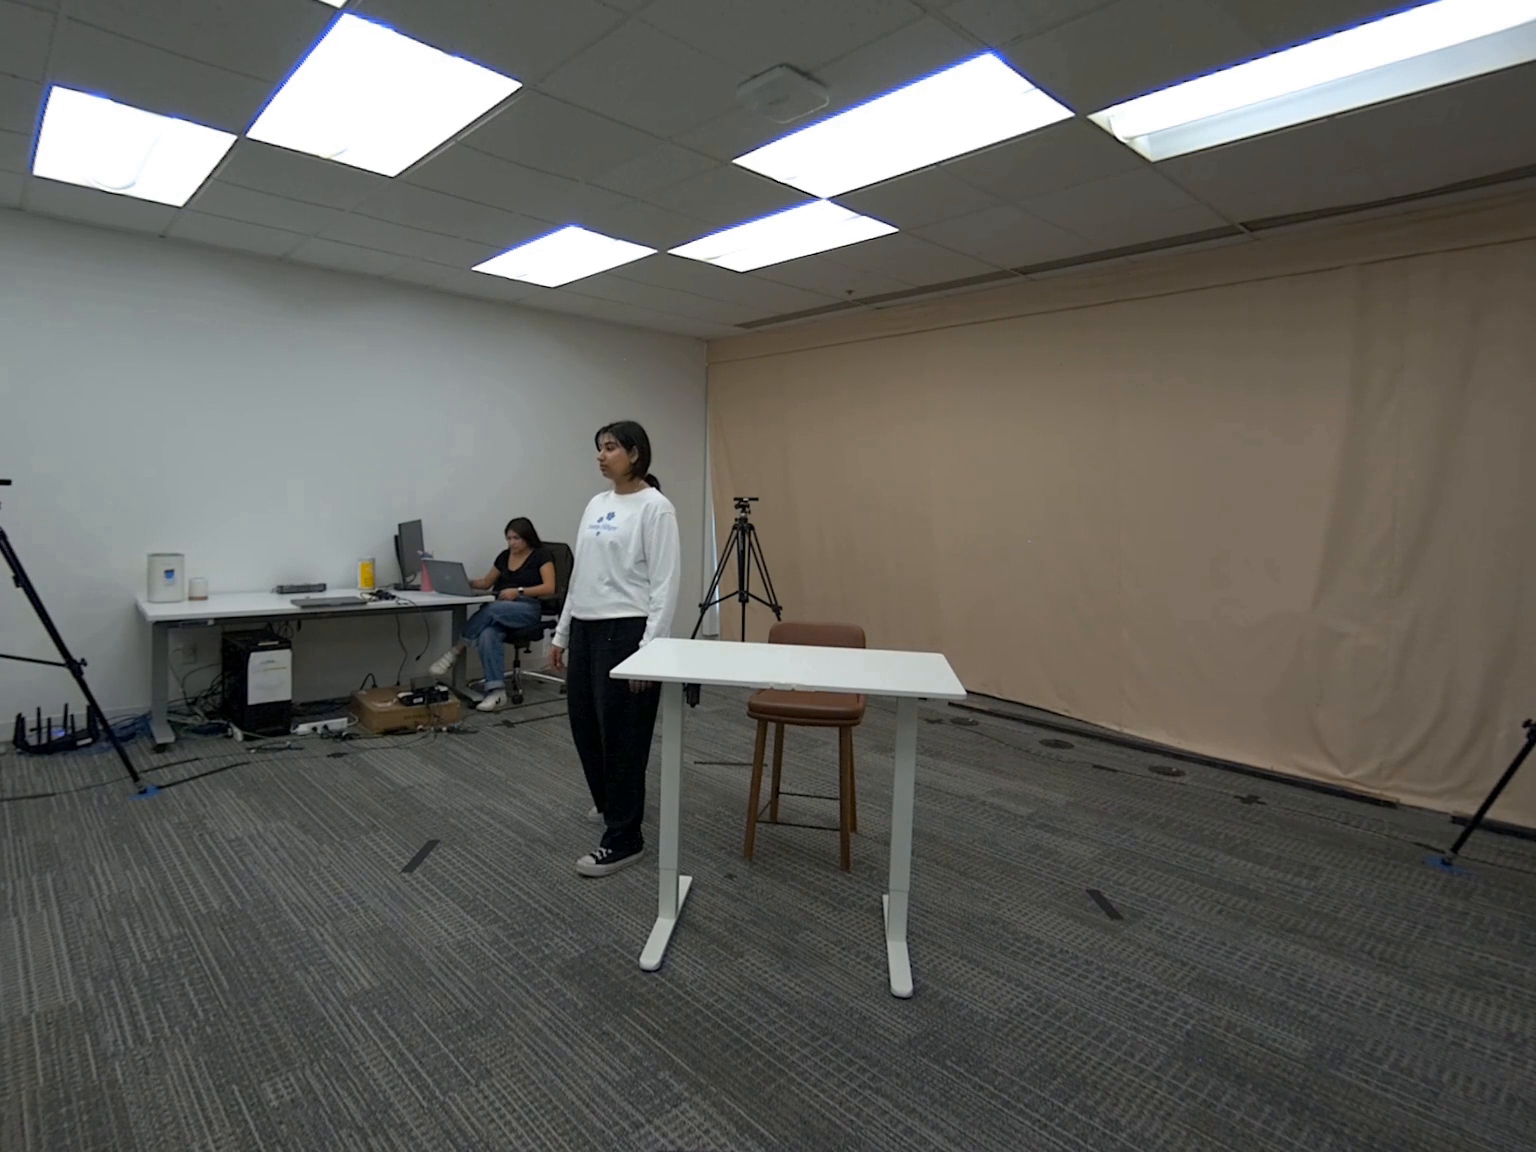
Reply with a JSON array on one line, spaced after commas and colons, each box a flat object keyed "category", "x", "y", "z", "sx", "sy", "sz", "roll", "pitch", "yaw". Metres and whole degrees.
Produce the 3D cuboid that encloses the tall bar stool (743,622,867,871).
[{"category": "tall bar stool", "x": 0.150, "y": 0.657, "z": 3.401, "sx": 0.462, "sy": 0.889, "sz": 0.463, "roll": 2, "pitch": 2, "yaw": 13}]
